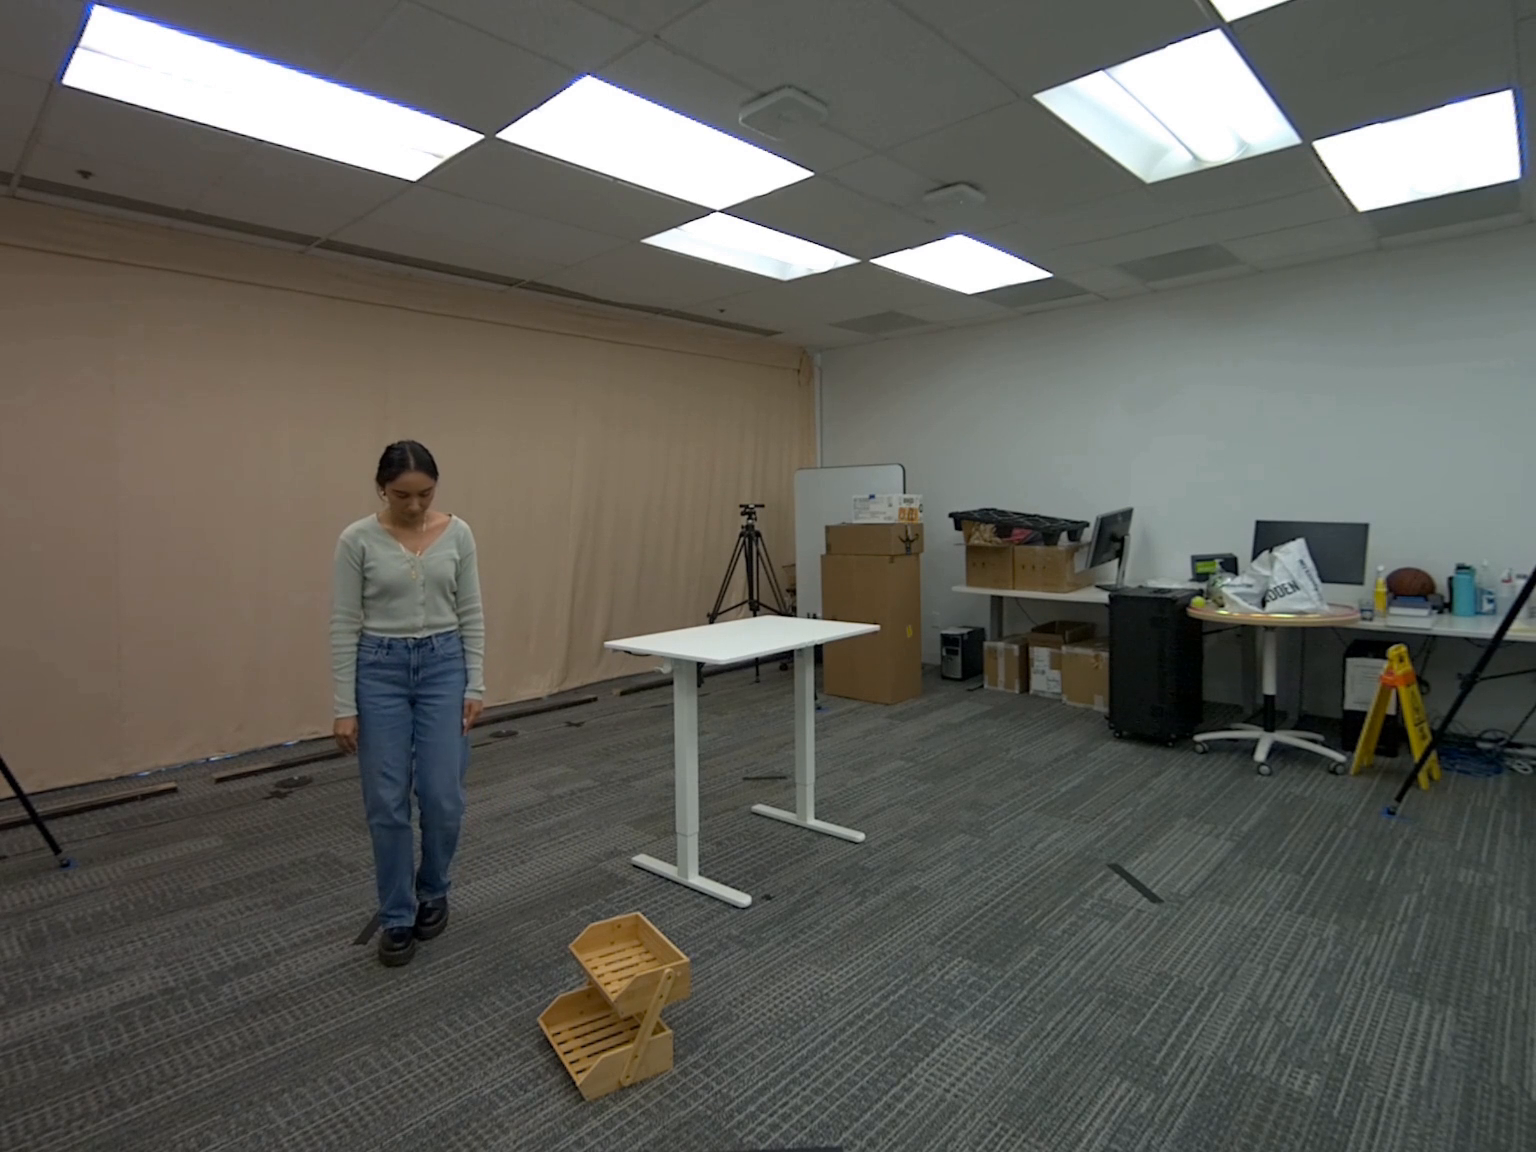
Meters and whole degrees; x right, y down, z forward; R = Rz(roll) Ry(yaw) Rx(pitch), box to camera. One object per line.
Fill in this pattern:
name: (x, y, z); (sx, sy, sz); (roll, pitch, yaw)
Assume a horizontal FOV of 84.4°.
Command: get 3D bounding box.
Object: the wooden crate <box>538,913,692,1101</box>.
wooden crate: (-0.404, 1.087, 2.157); (0.293, 0.273, 0.334); (-3, 4, -33)
